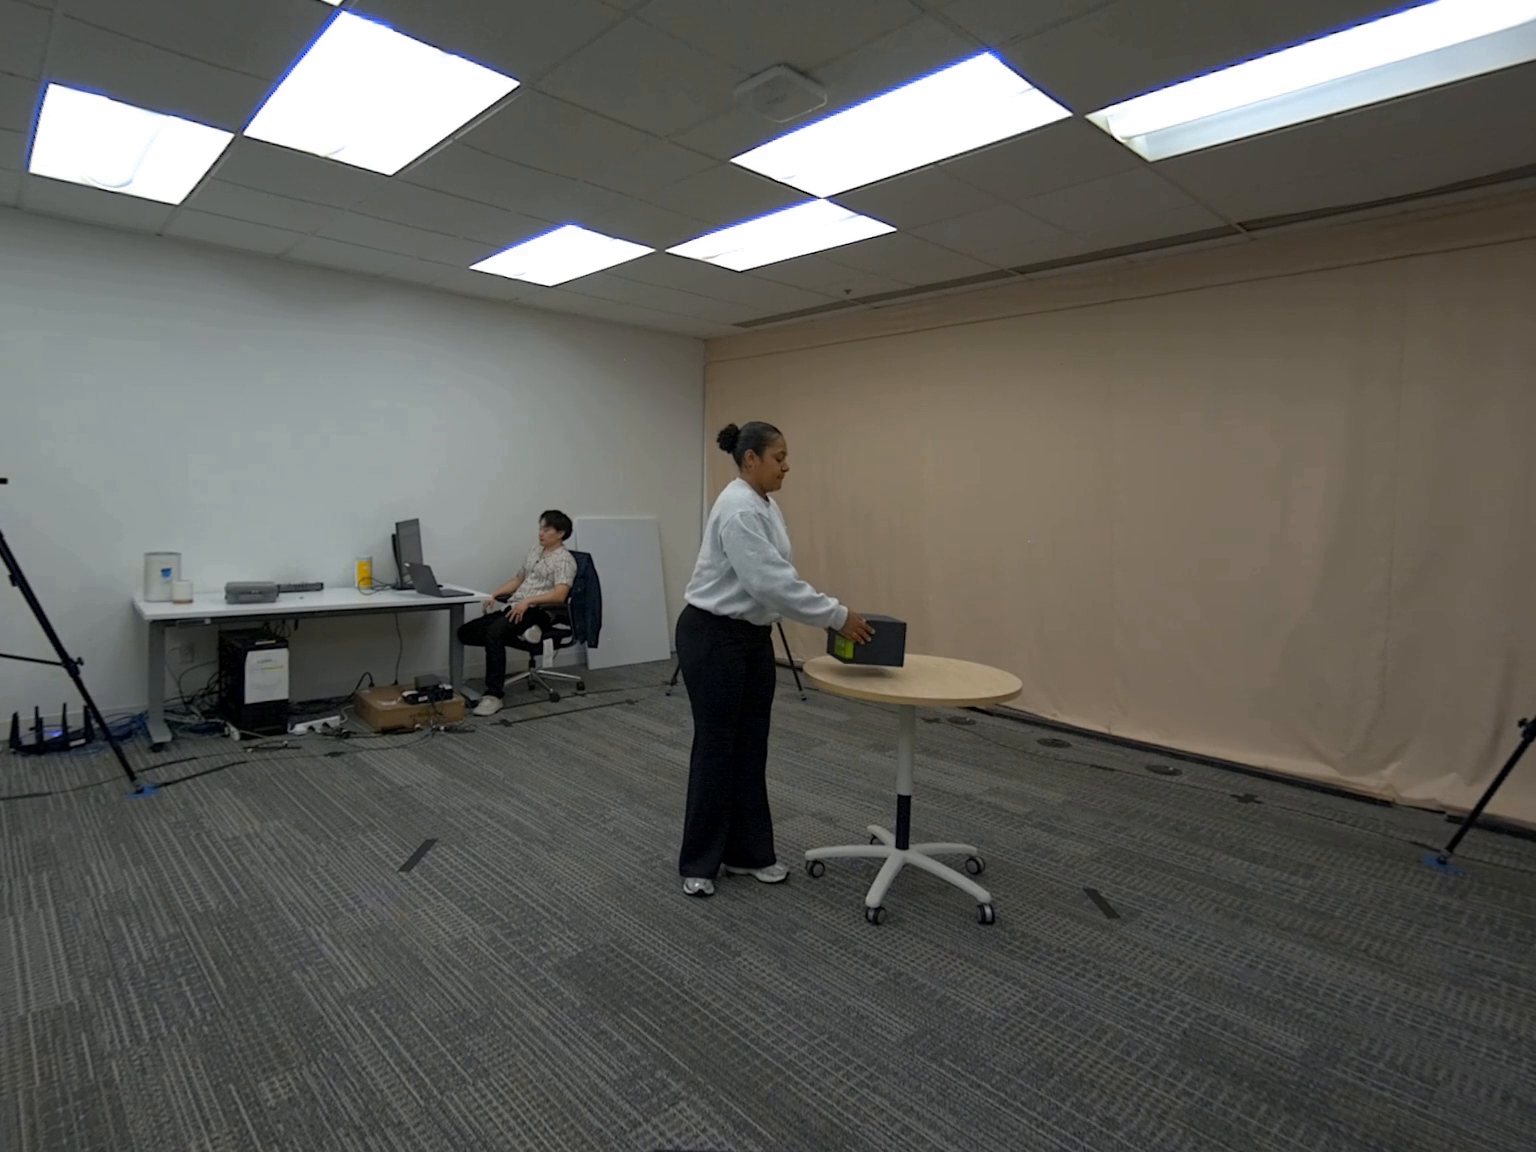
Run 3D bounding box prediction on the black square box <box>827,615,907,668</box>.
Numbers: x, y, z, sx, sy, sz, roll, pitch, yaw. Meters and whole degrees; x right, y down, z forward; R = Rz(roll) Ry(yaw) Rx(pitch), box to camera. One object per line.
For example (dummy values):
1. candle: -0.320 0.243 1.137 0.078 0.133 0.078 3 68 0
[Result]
1. black square box: 0.342 0.213 2.987 0.215 0.155 0.230 3 3 -9
